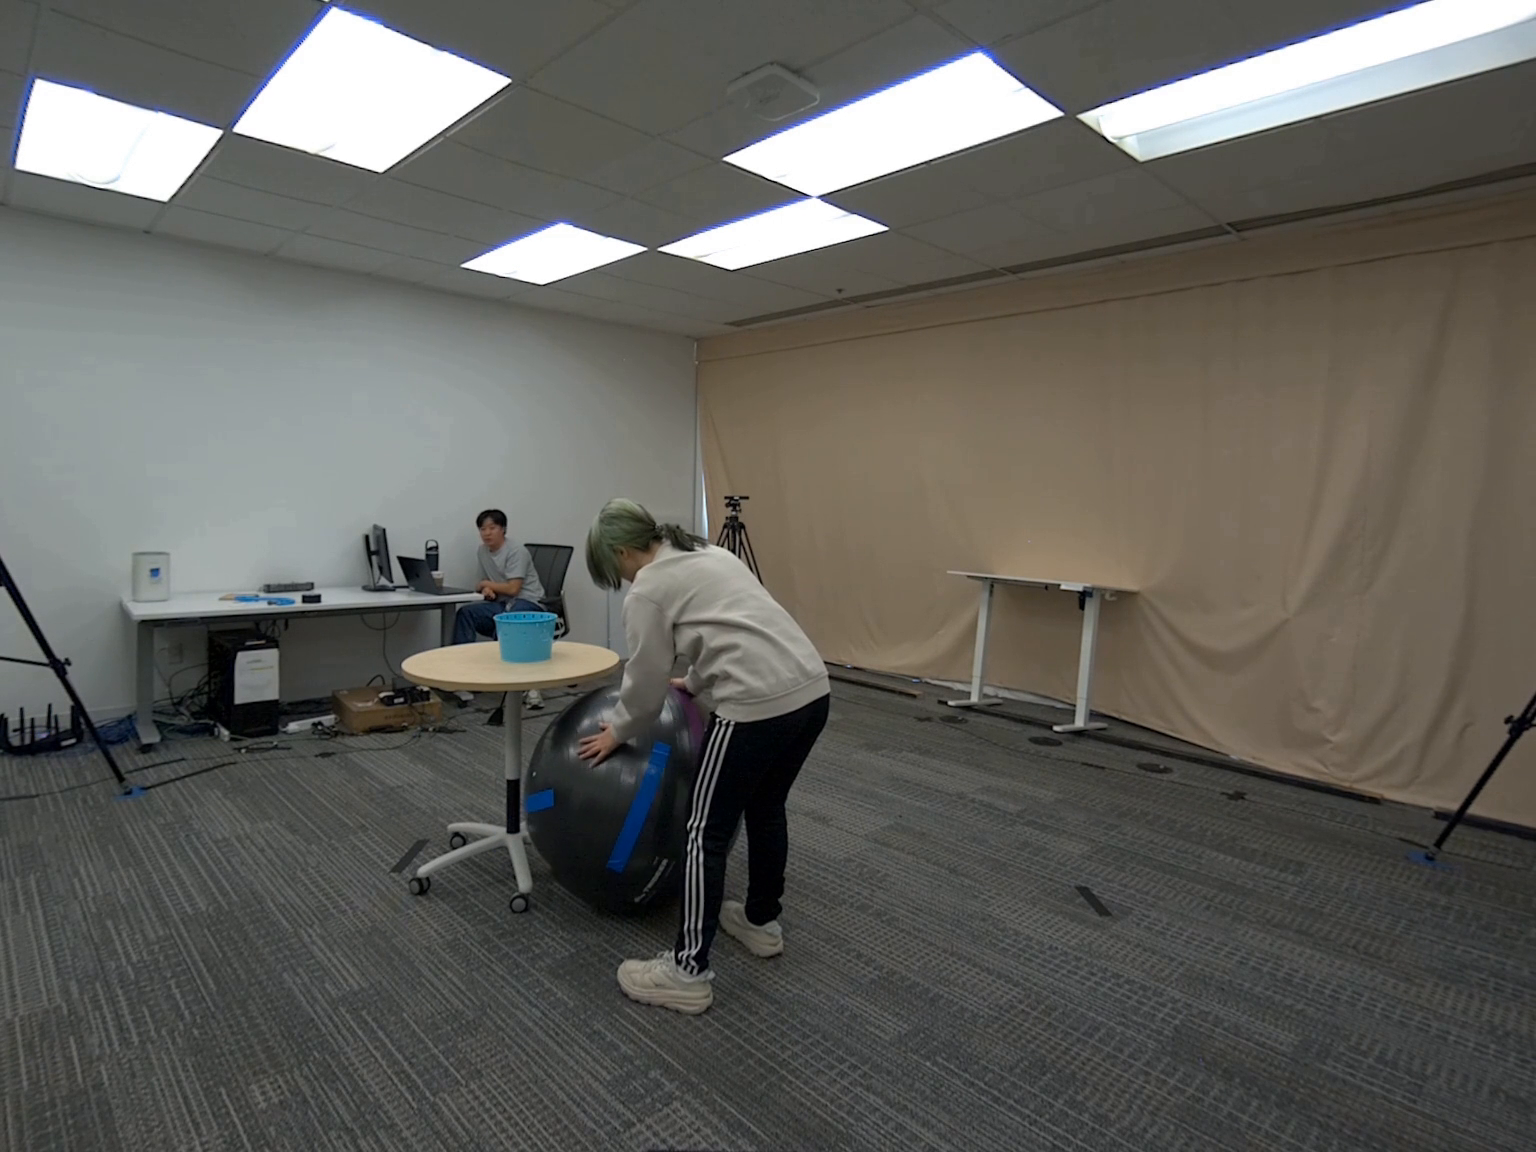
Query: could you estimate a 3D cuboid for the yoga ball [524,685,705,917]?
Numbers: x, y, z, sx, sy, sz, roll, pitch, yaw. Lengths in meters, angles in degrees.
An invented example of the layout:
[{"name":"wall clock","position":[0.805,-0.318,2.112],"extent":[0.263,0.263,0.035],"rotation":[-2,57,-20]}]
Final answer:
[{"name":"yoga ball","position":[-0.454,0.746,2.891],"extent":[0.757,0.756,0.761],"rotation":[1,4,-1]}]
